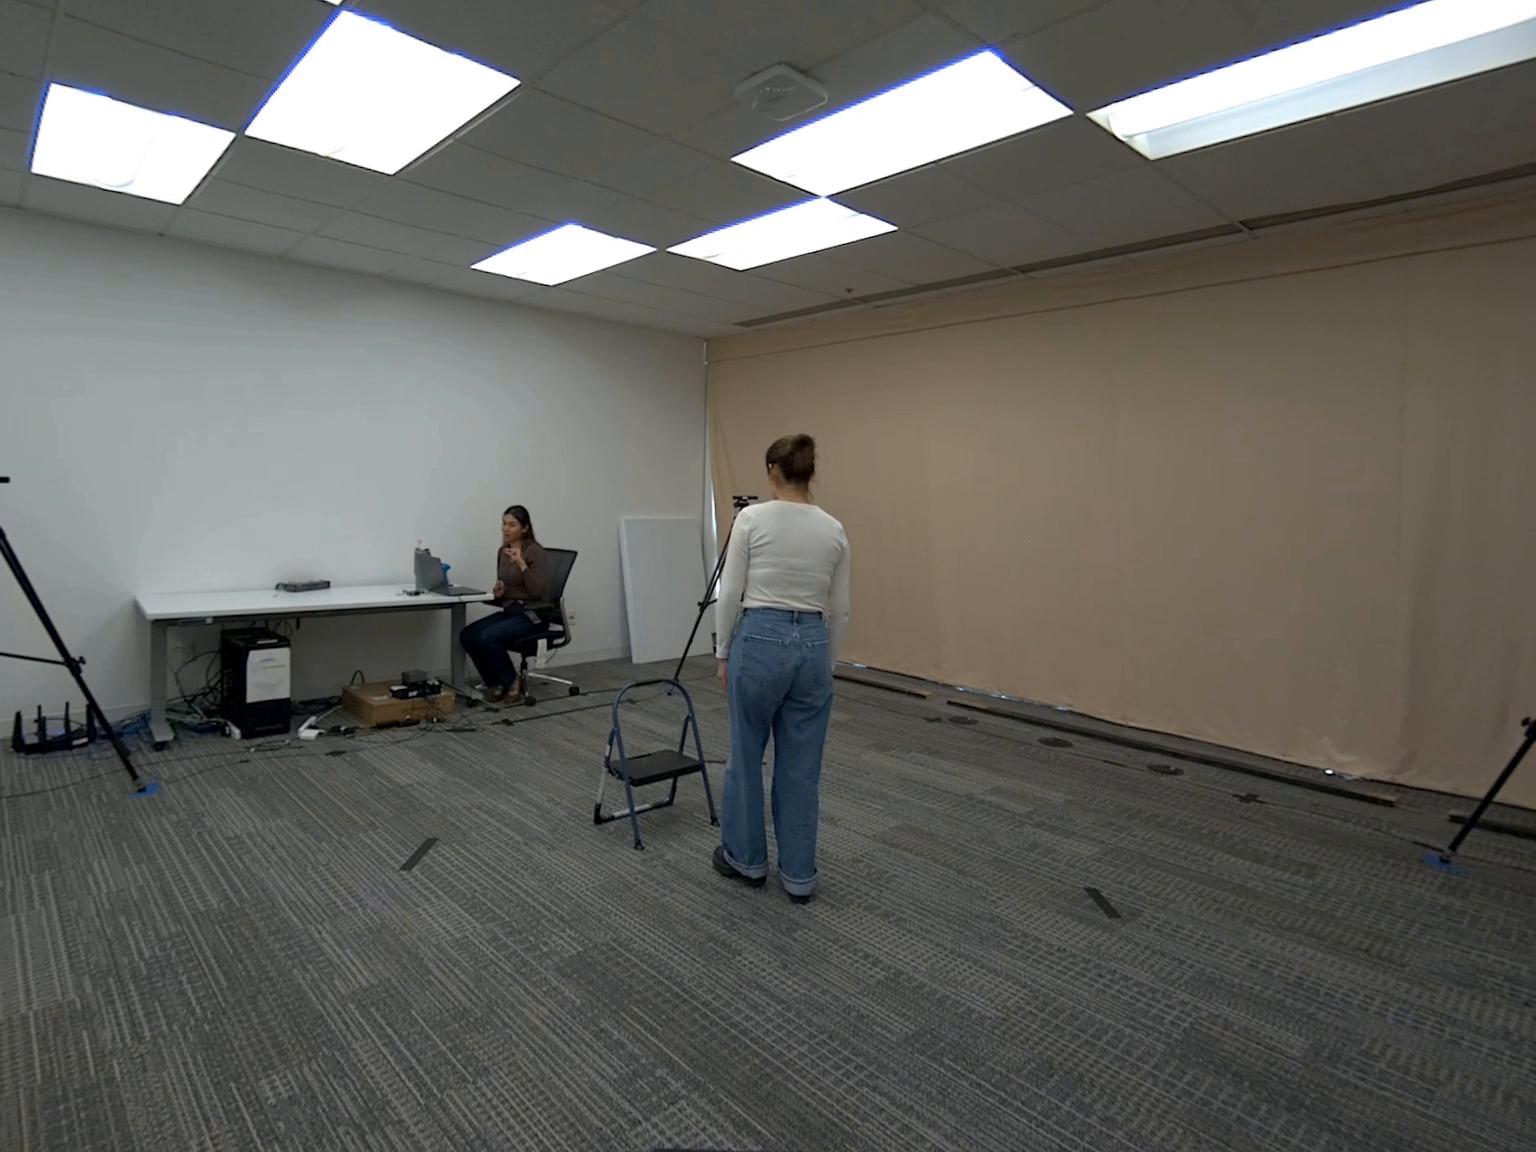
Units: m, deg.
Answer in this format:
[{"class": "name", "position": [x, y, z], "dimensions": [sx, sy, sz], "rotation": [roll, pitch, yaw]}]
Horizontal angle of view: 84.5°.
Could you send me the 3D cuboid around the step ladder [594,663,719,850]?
[{"class": "step ladder", "position": [-0.473, 0.753, 3.552], "dimensions": [0.421, 0.605, 0.358], "rotation": [-2, 4, -43]}]
